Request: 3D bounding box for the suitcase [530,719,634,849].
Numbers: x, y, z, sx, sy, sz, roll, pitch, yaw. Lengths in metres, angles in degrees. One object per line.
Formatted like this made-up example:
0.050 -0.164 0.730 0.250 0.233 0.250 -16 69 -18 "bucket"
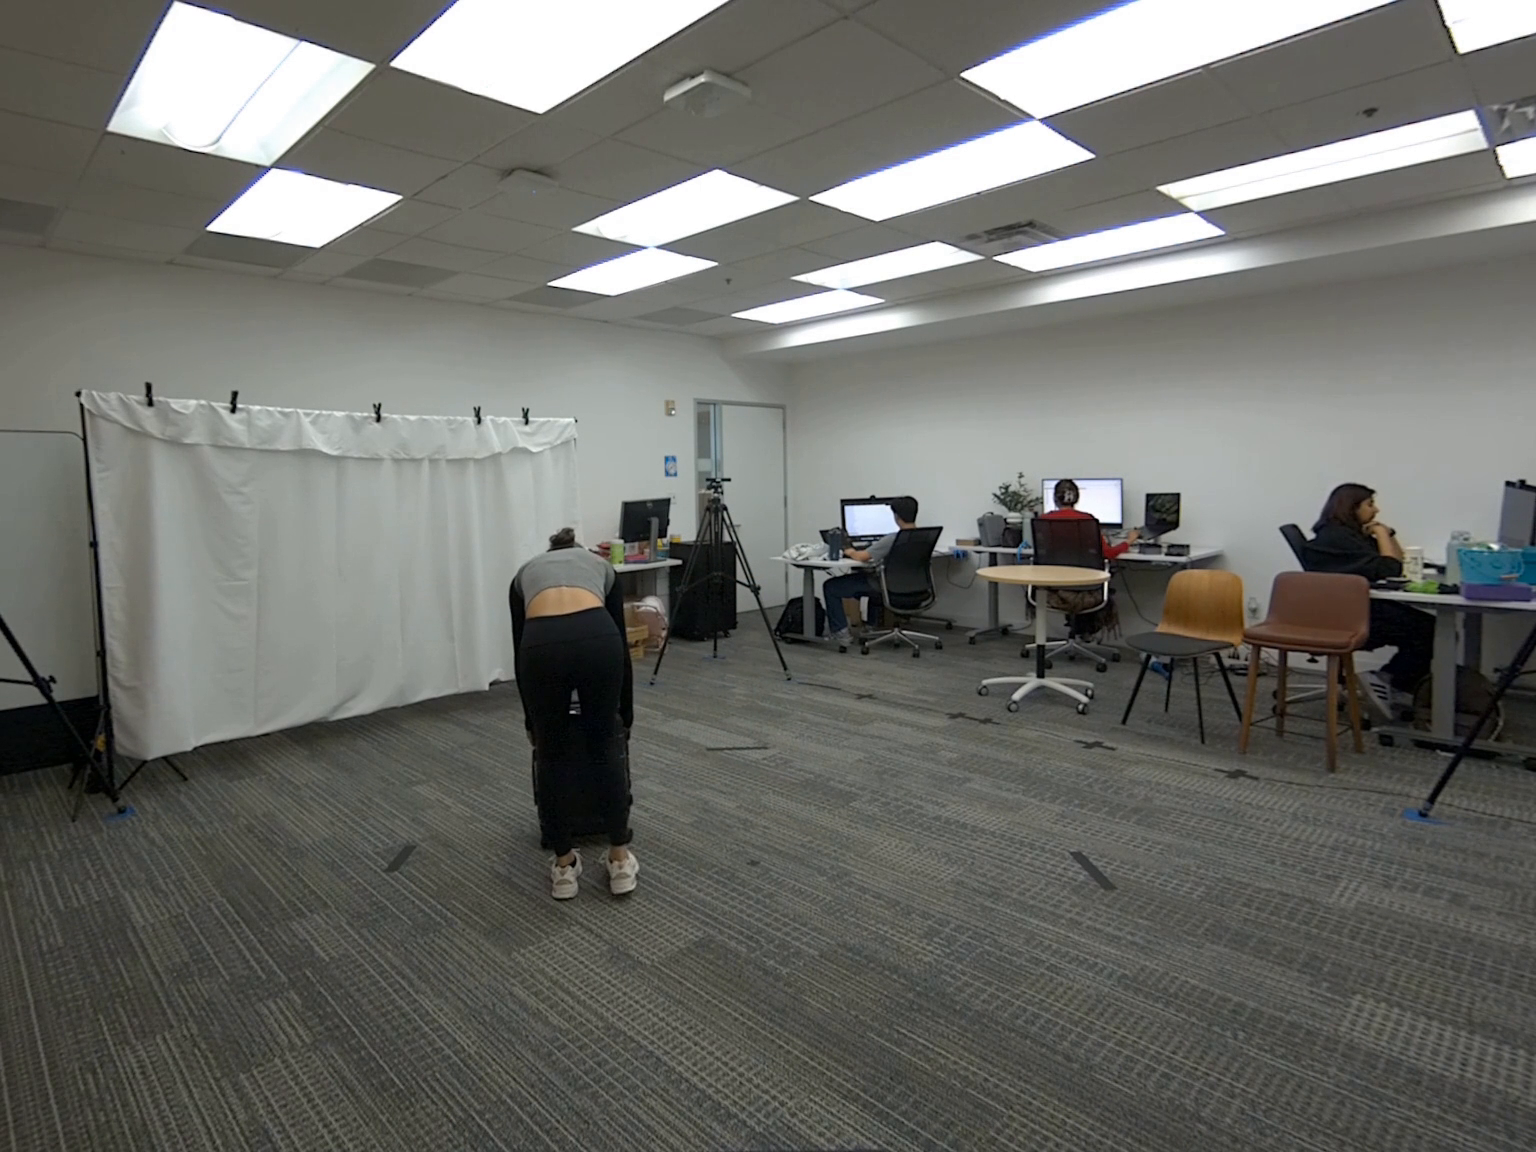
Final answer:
-0.732 0.754 3.351 0.372 0.547 0.251 -2 4 -10 "suitcase"
